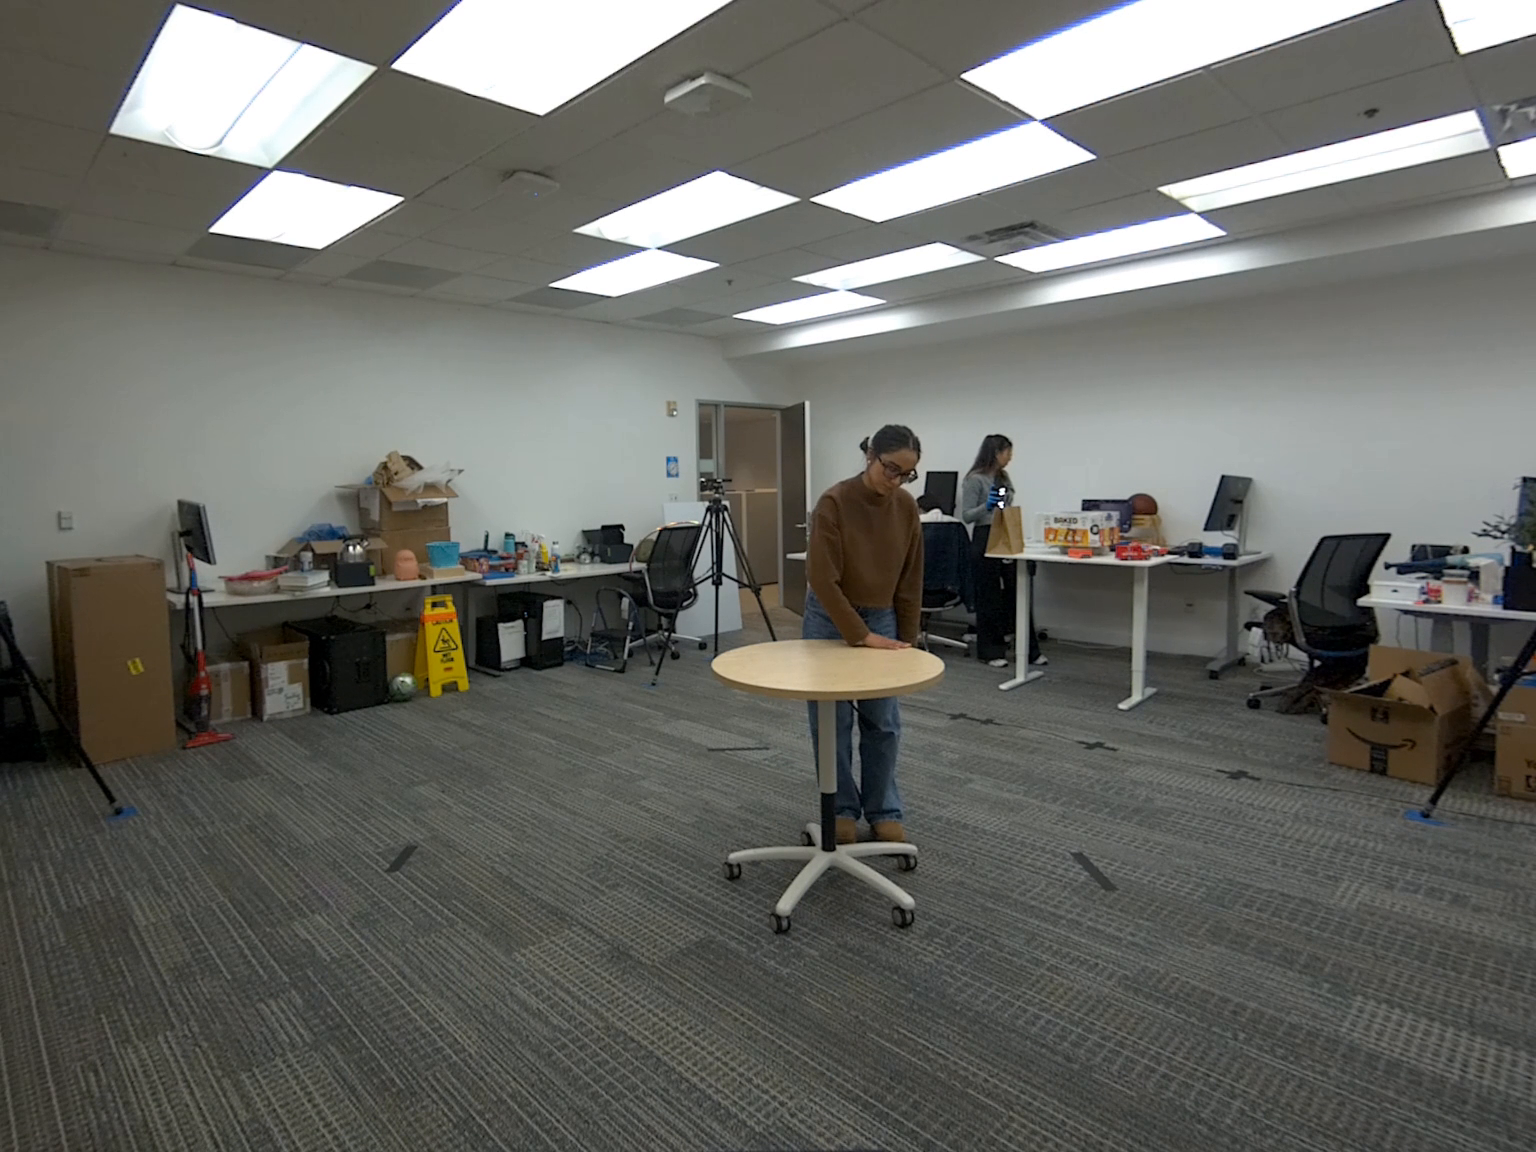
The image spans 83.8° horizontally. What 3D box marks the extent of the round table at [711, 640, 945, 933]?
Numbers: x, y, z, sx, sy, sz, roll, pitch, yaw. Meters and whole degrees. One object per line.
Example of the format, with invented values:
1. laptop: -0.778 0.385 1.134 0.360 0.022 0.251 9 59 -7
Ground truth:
1. round table: 0.204 0.681 2.871 0.763 0.791 0.768 -1 5 -2
